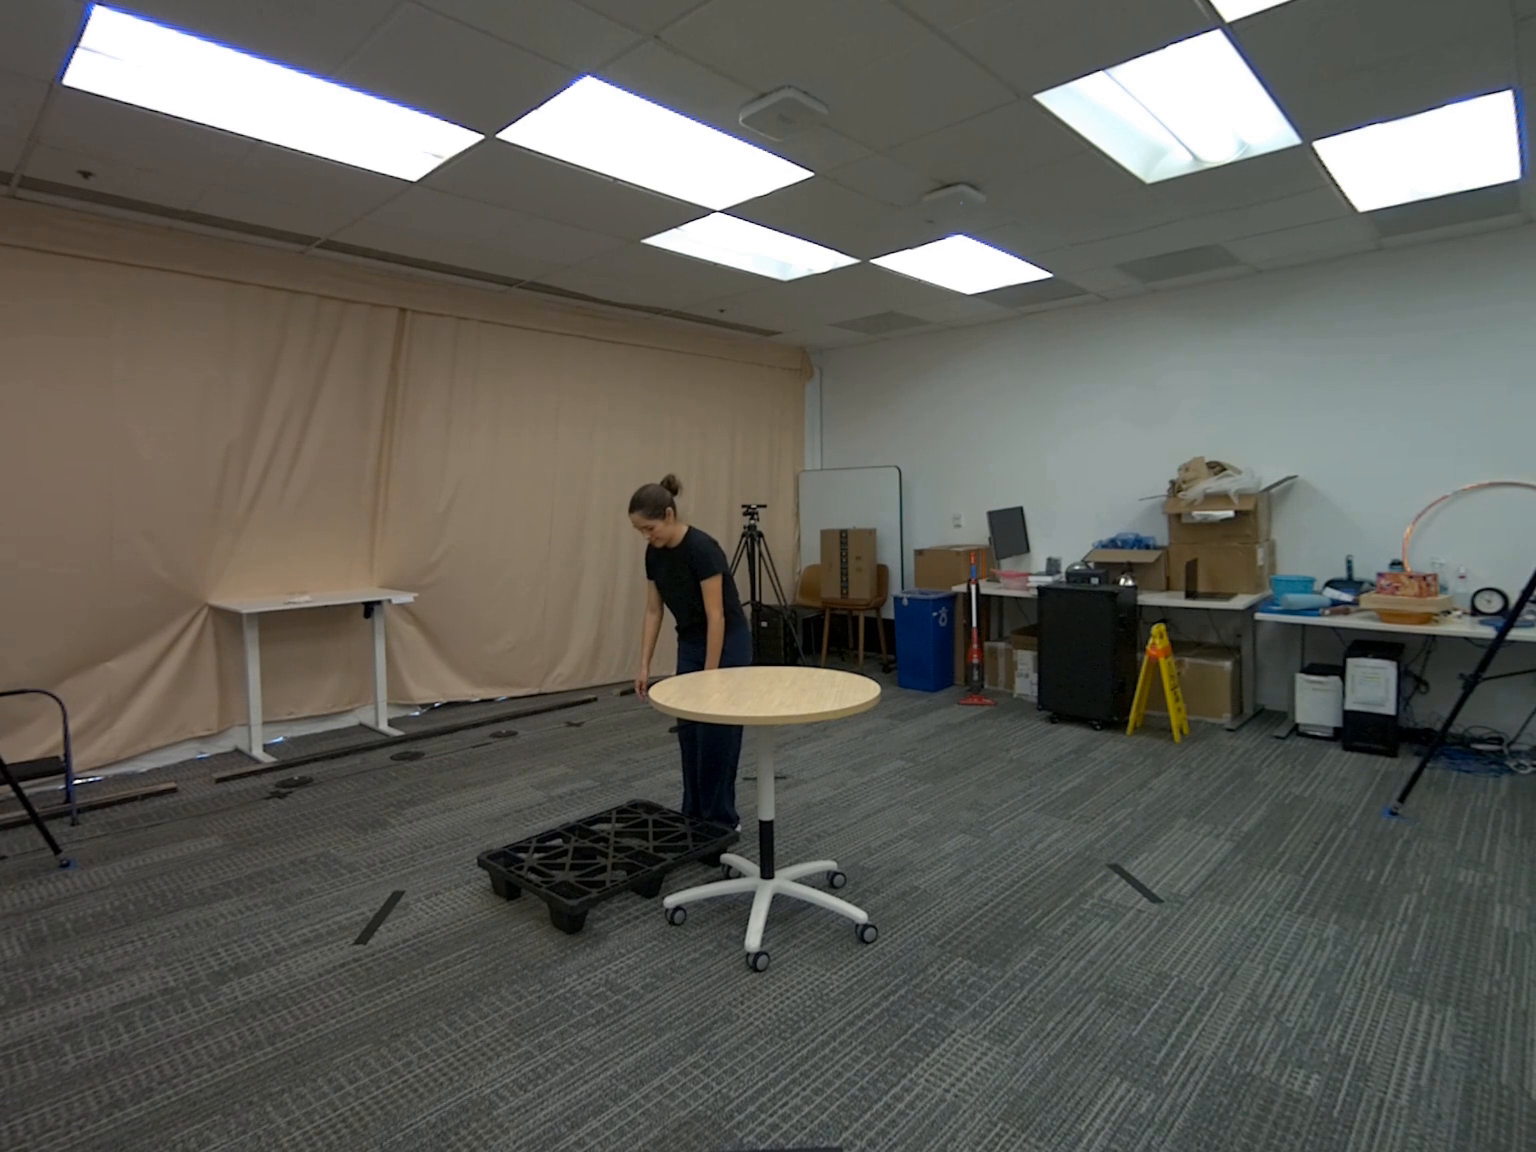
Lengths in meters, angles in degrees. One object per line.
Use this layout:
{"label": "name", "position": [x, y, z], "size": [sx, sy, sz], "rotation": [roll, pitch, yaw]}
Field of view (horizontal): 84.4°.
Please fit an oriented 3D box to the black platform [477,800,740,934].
{"label": "black platform", "position": [-0.572, 1.073, 3.163], "size": [0.625, 0.143, 0.781], "rotation": [4, 7, 42]}
